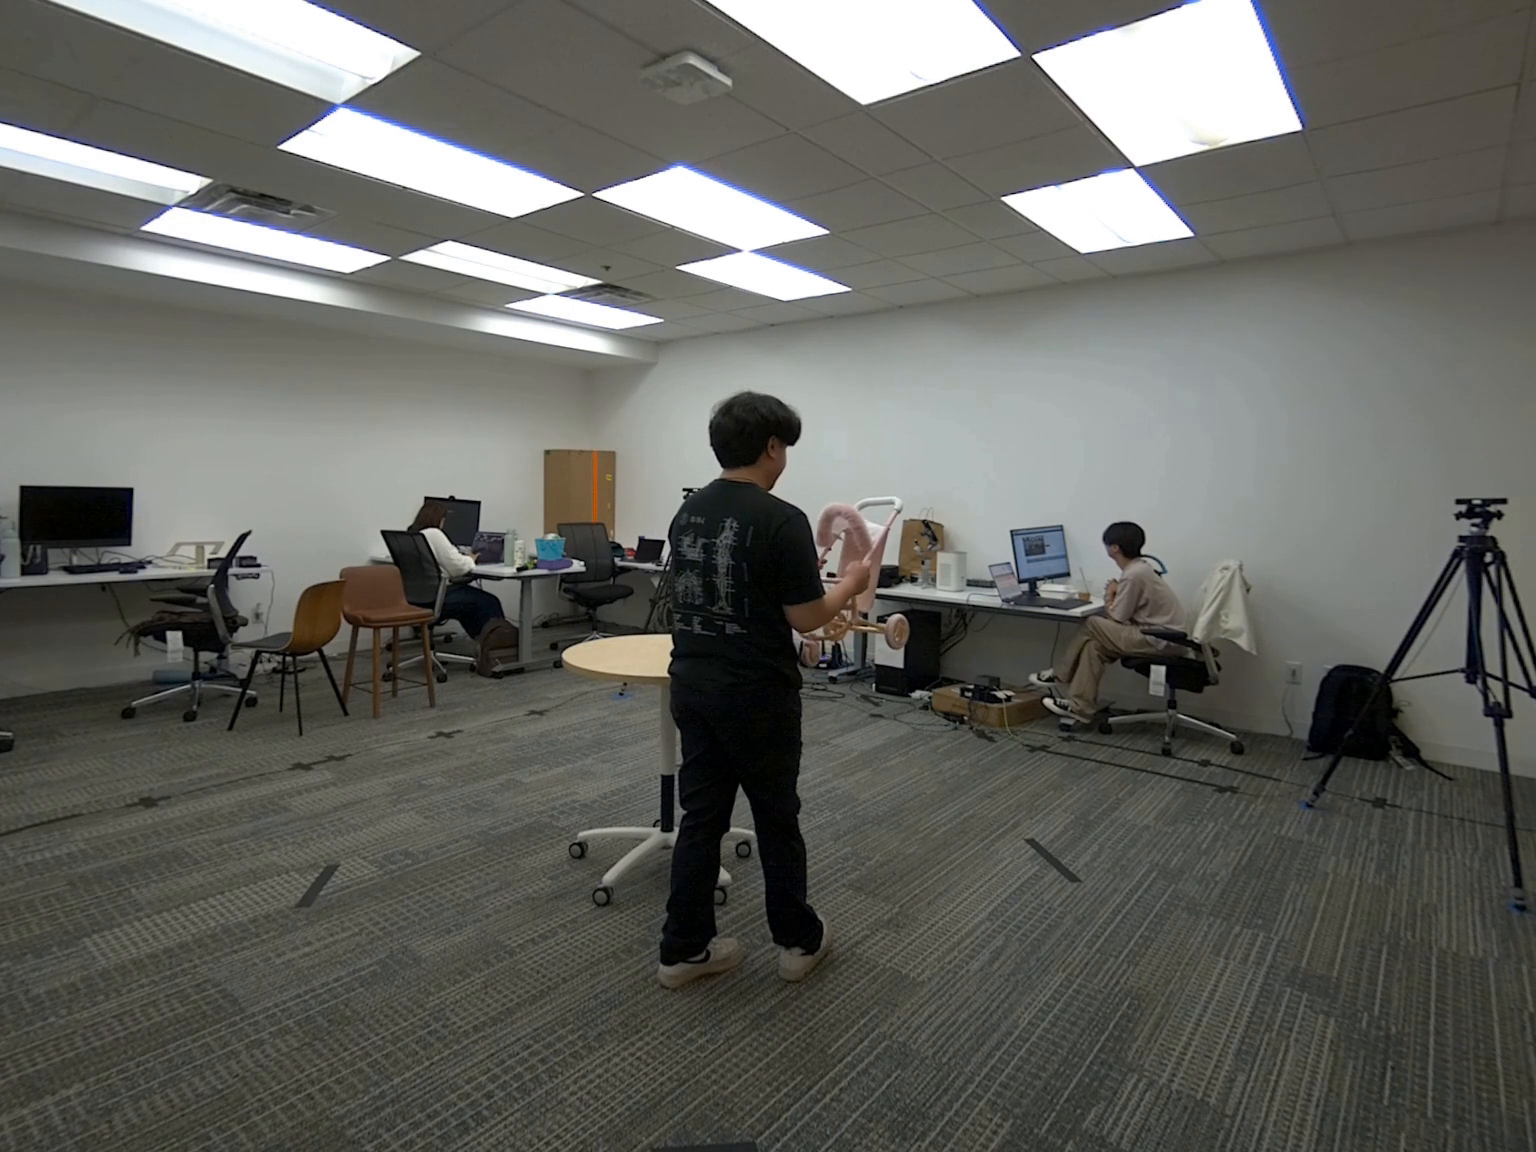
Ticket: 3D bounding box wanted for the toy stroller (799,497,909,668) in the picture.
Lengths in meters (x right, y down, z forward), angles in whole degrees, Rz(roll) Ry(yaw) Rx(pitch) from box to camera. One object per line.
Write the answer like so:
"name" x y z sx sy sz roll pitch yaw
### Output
"toy stroller" 0.229 0.005 2.647 0.330 0.535 0.290 3 -1 -39
